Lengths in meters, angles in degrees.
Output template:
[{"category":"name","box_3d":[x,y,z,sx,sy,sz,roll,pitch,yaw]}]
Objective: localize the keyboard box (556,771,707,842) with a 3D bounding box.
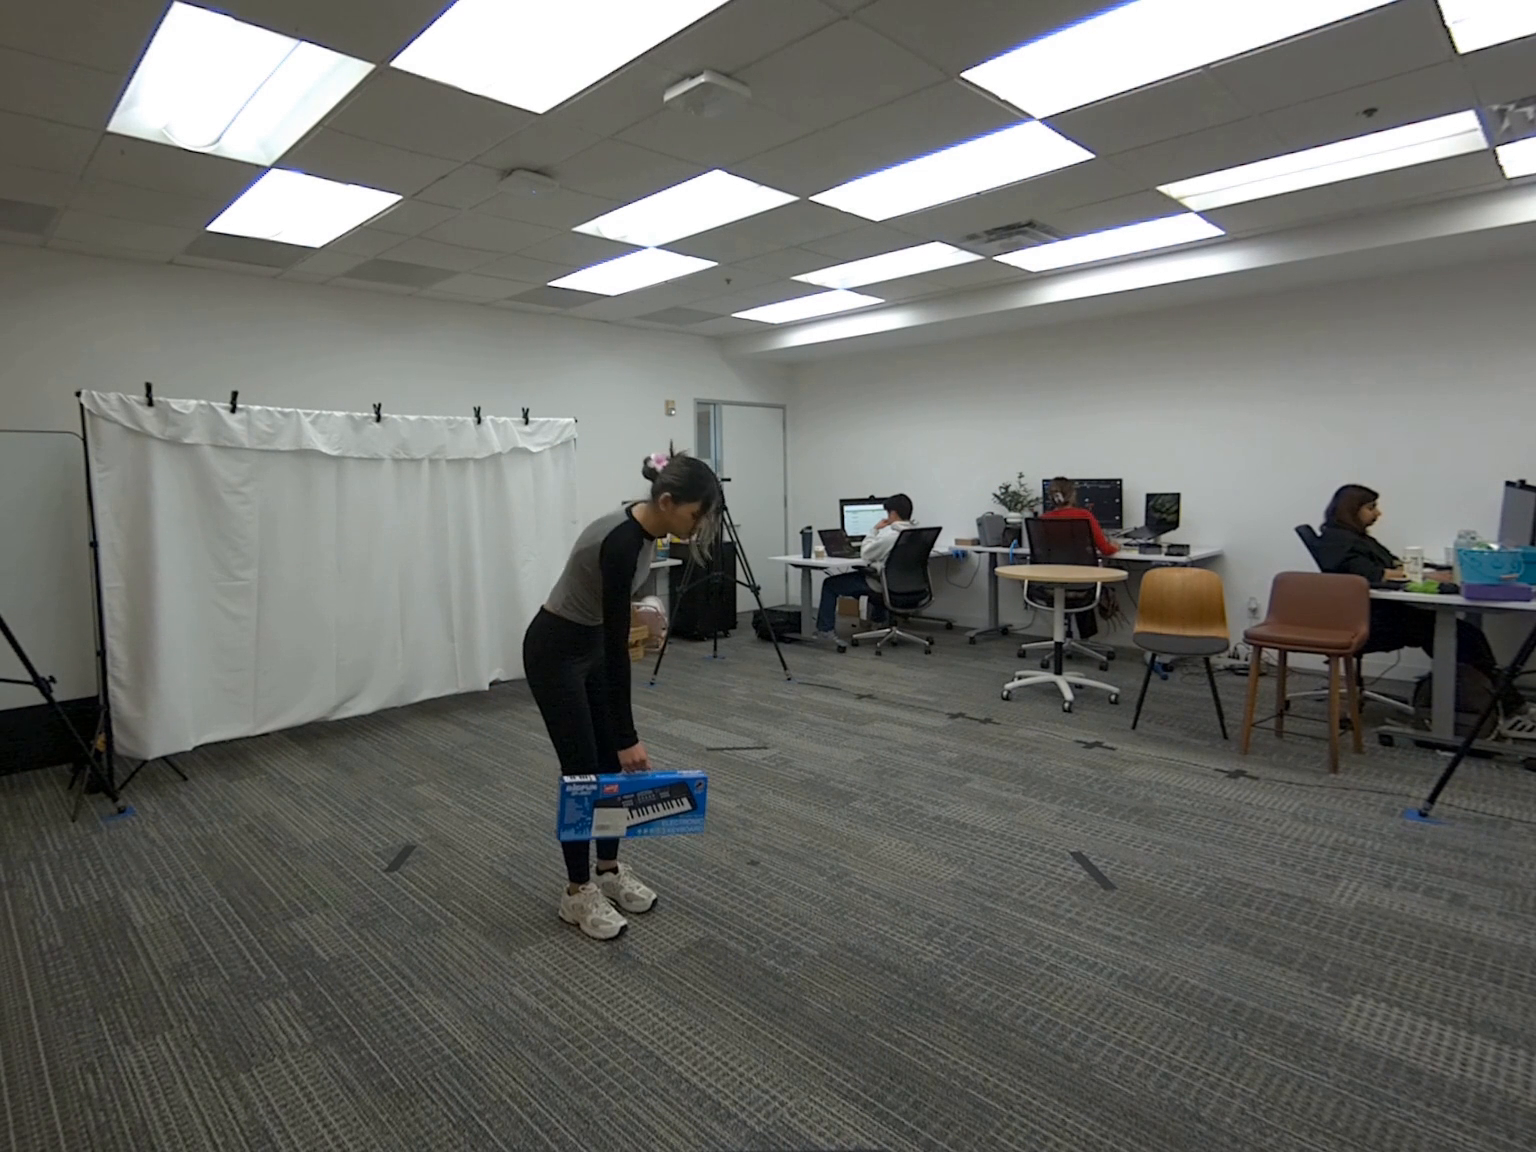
[{"category":"keyboard box","box_3d":[-0.393,0.673,2.508,0.428,0.175,0.060,2,3,-20]}]
